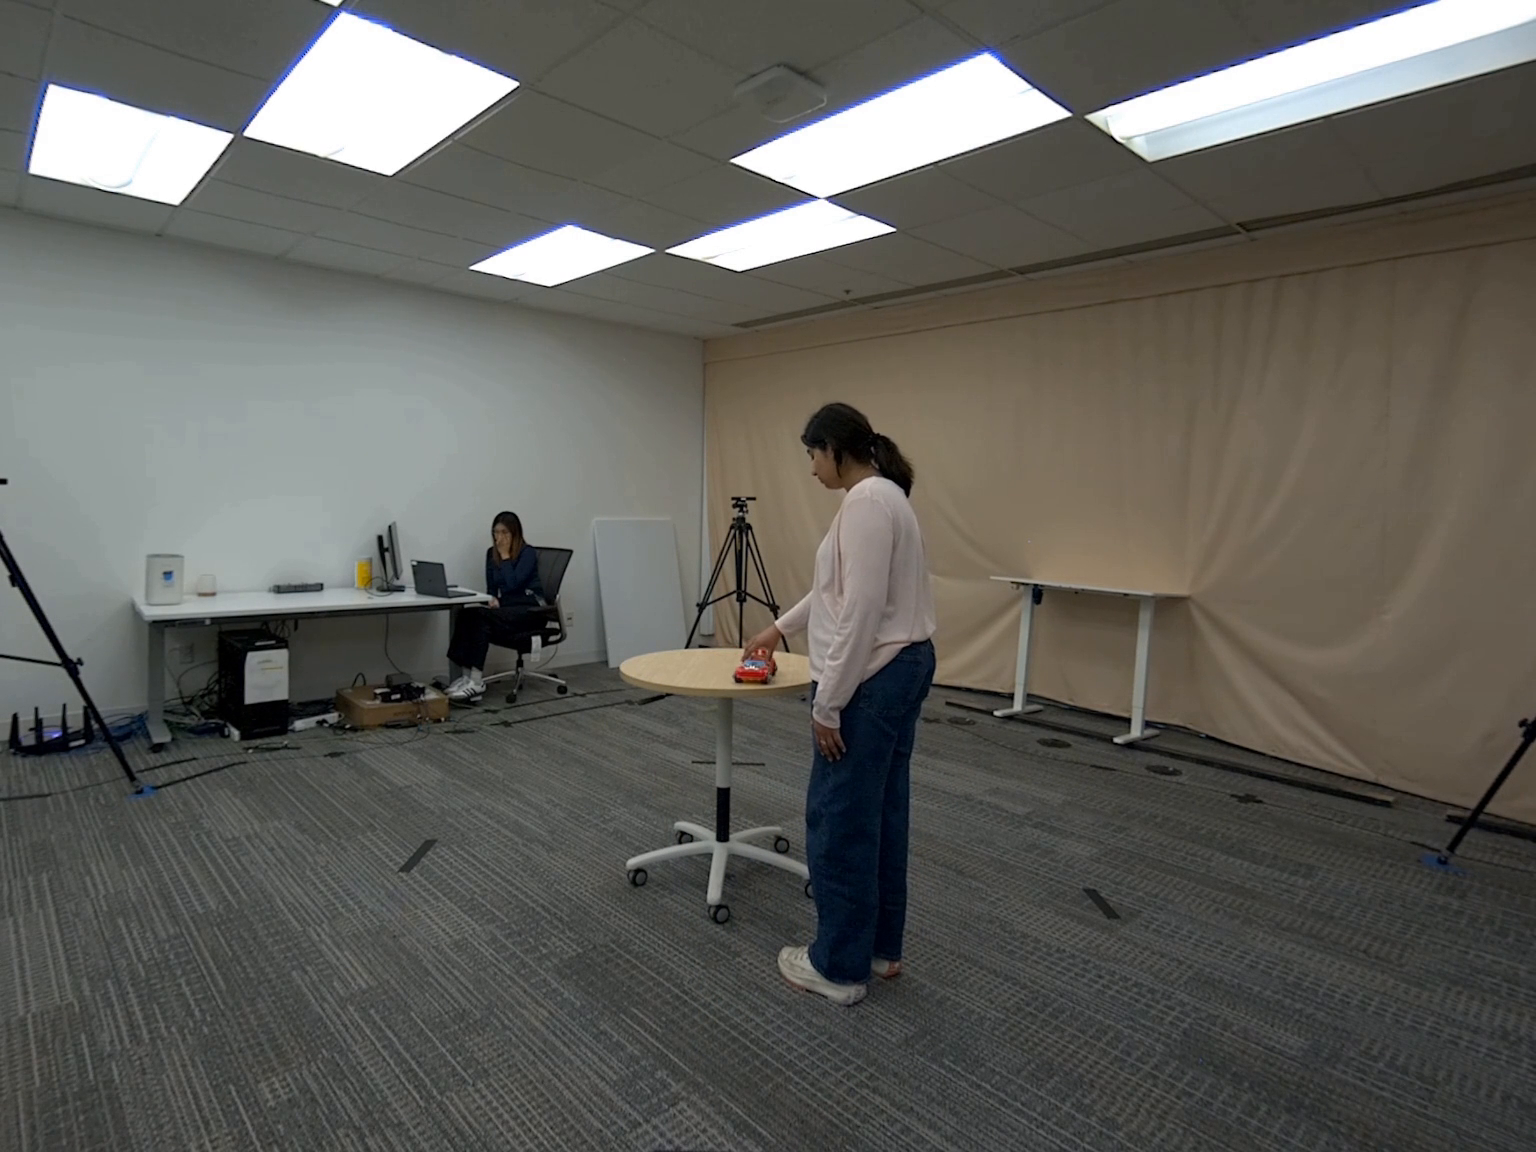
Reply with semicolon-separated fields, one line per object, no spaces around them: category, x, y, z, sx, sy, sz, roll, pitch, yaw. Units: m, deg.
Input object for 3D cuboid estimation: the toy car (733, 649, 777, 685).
toy car;-0.046;0.314;2.861;0.131;0.082;0.255;2;16;9
